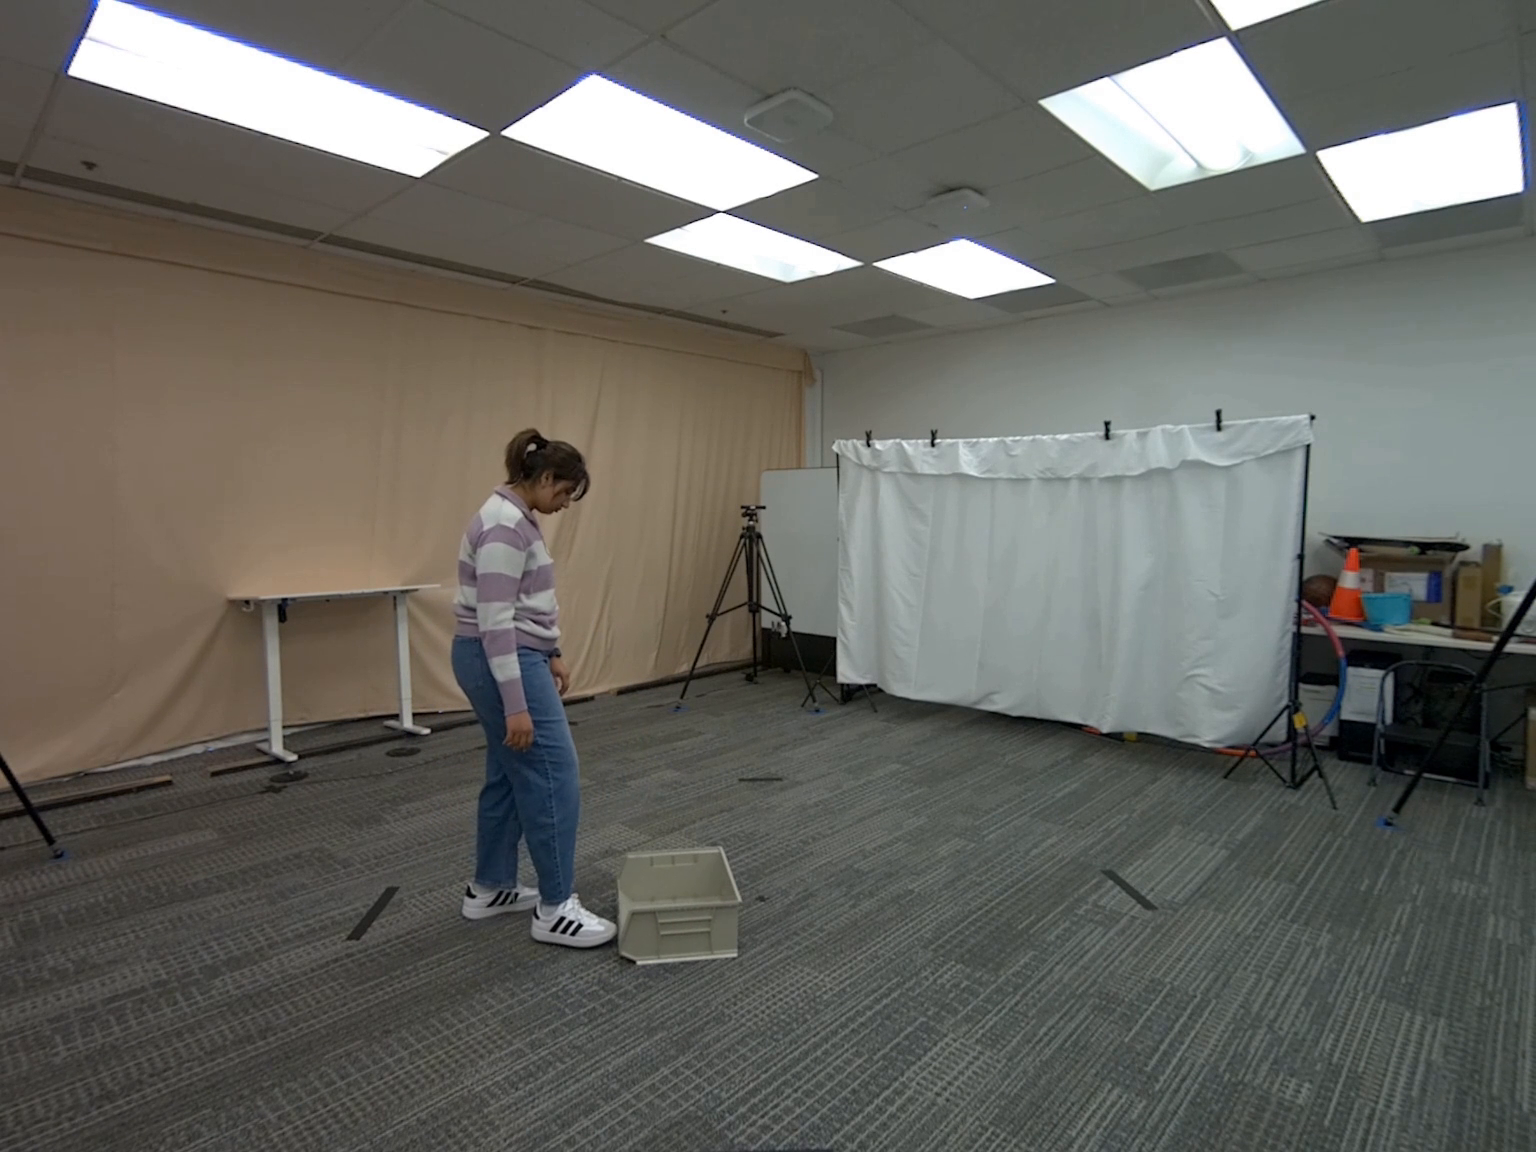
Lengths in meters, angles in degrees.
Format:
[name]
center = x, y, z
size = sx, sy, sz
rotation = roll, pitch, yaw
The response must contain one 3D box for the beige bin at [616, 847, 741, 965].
[beige bin]
center = -0.314, 1.075, 2.759
size = 0.373, 0.189, 0.427
rotation = 0, 3, -10
